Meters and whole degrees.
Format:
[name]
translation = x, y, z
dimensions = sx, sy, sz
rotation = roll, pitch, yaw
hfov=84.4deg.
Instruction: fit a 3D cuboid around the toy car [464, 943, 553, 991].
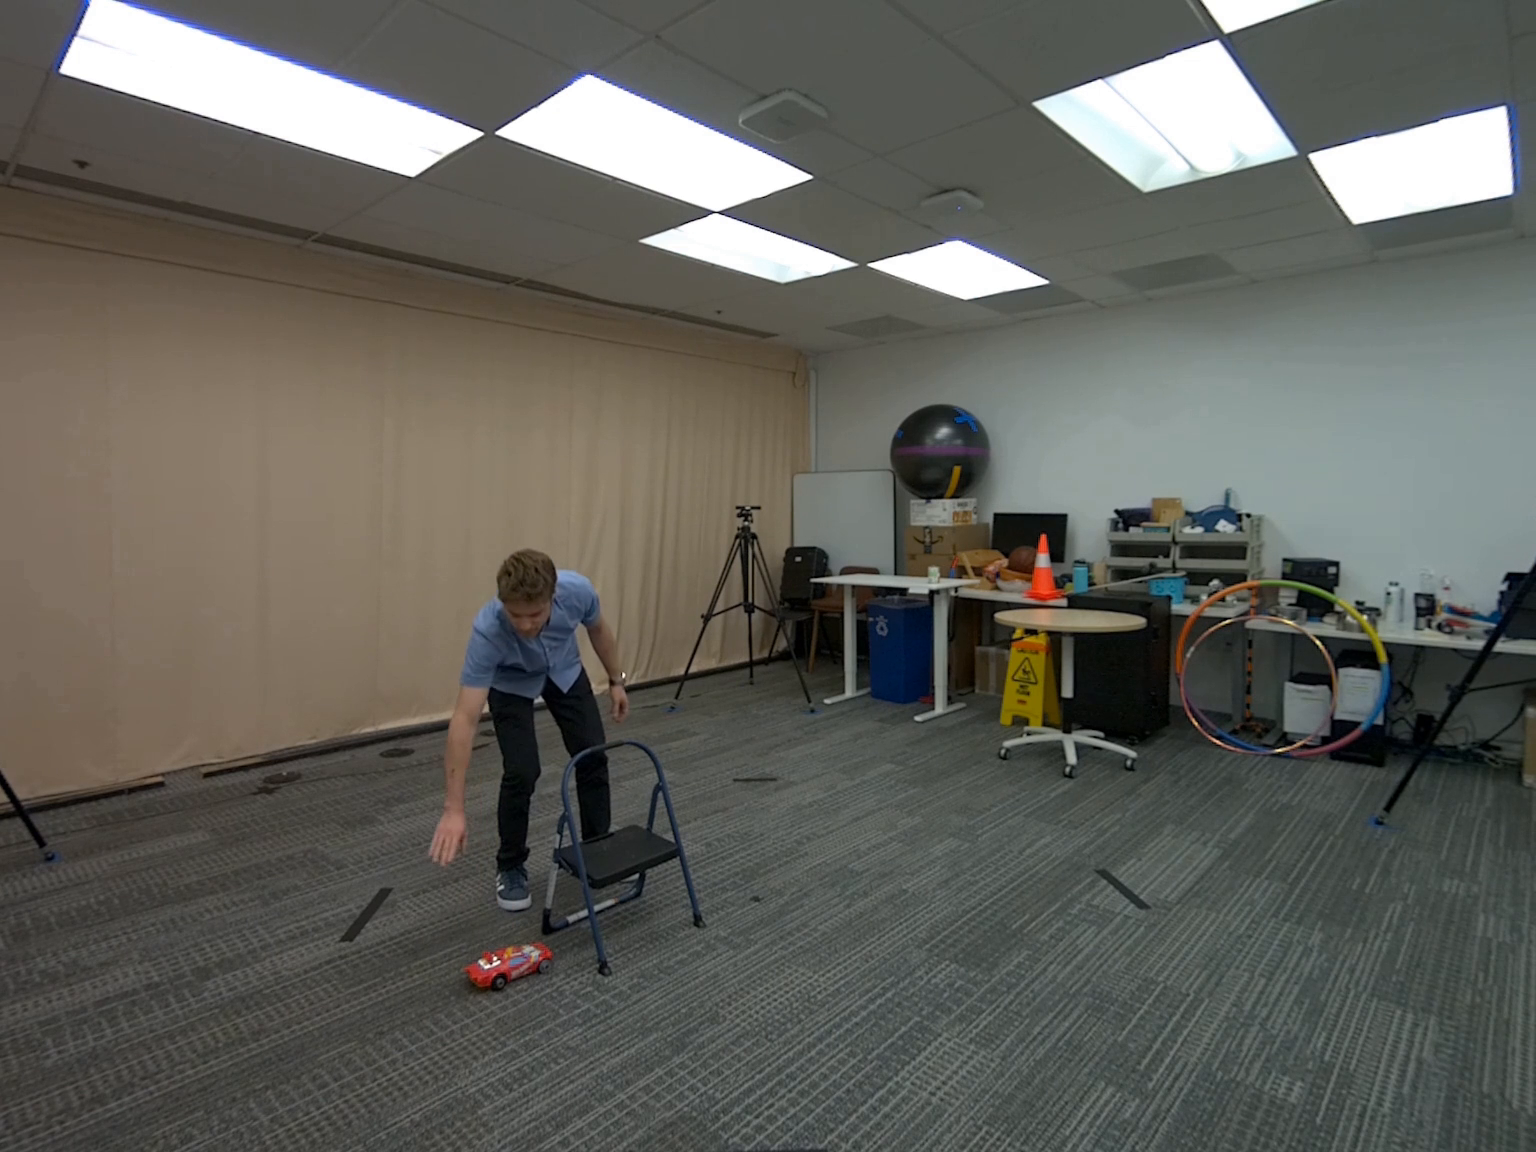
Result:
[toy car]
translation = -0.774, 1.154, 2.500
dimensions = 0.246, 0.083, 0.134
rotation = 10, -4, -39
